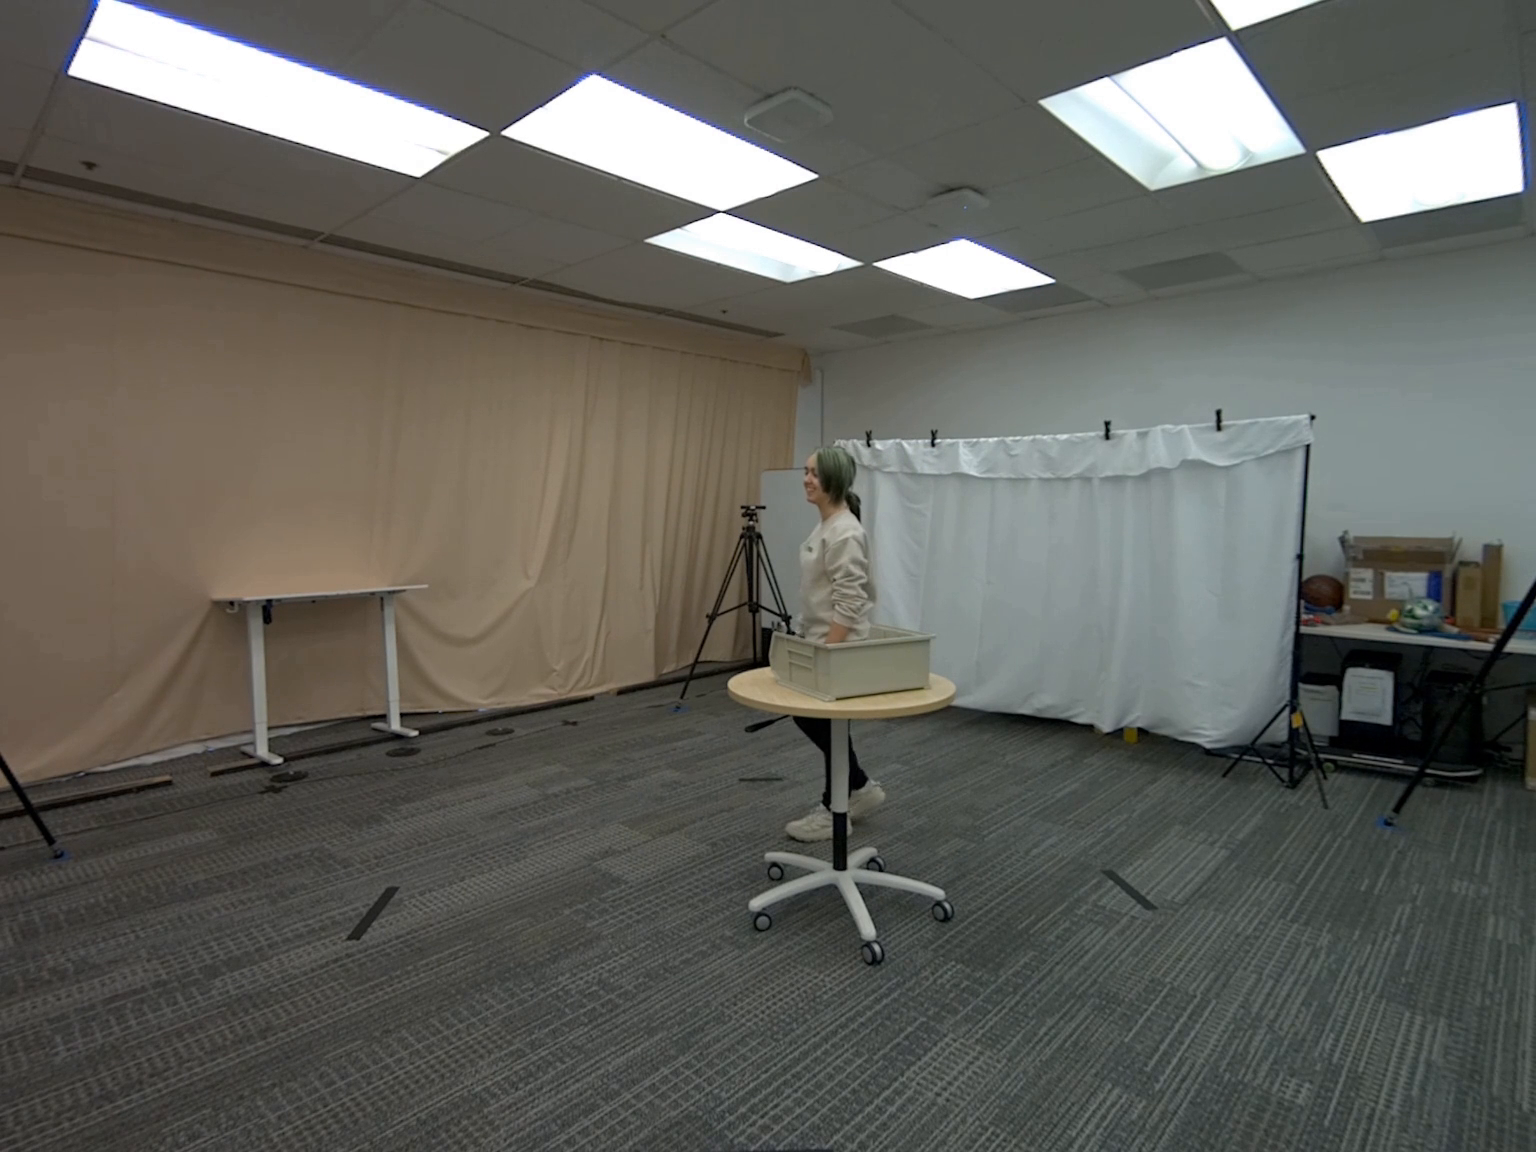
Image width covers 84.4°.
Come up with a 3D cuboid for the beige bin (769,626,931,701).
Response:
[{"bbox_3d":[0.276,0.281,2.837,0.412,0.188,0.388,-2,6,-27],"label":"beige bin"}]
